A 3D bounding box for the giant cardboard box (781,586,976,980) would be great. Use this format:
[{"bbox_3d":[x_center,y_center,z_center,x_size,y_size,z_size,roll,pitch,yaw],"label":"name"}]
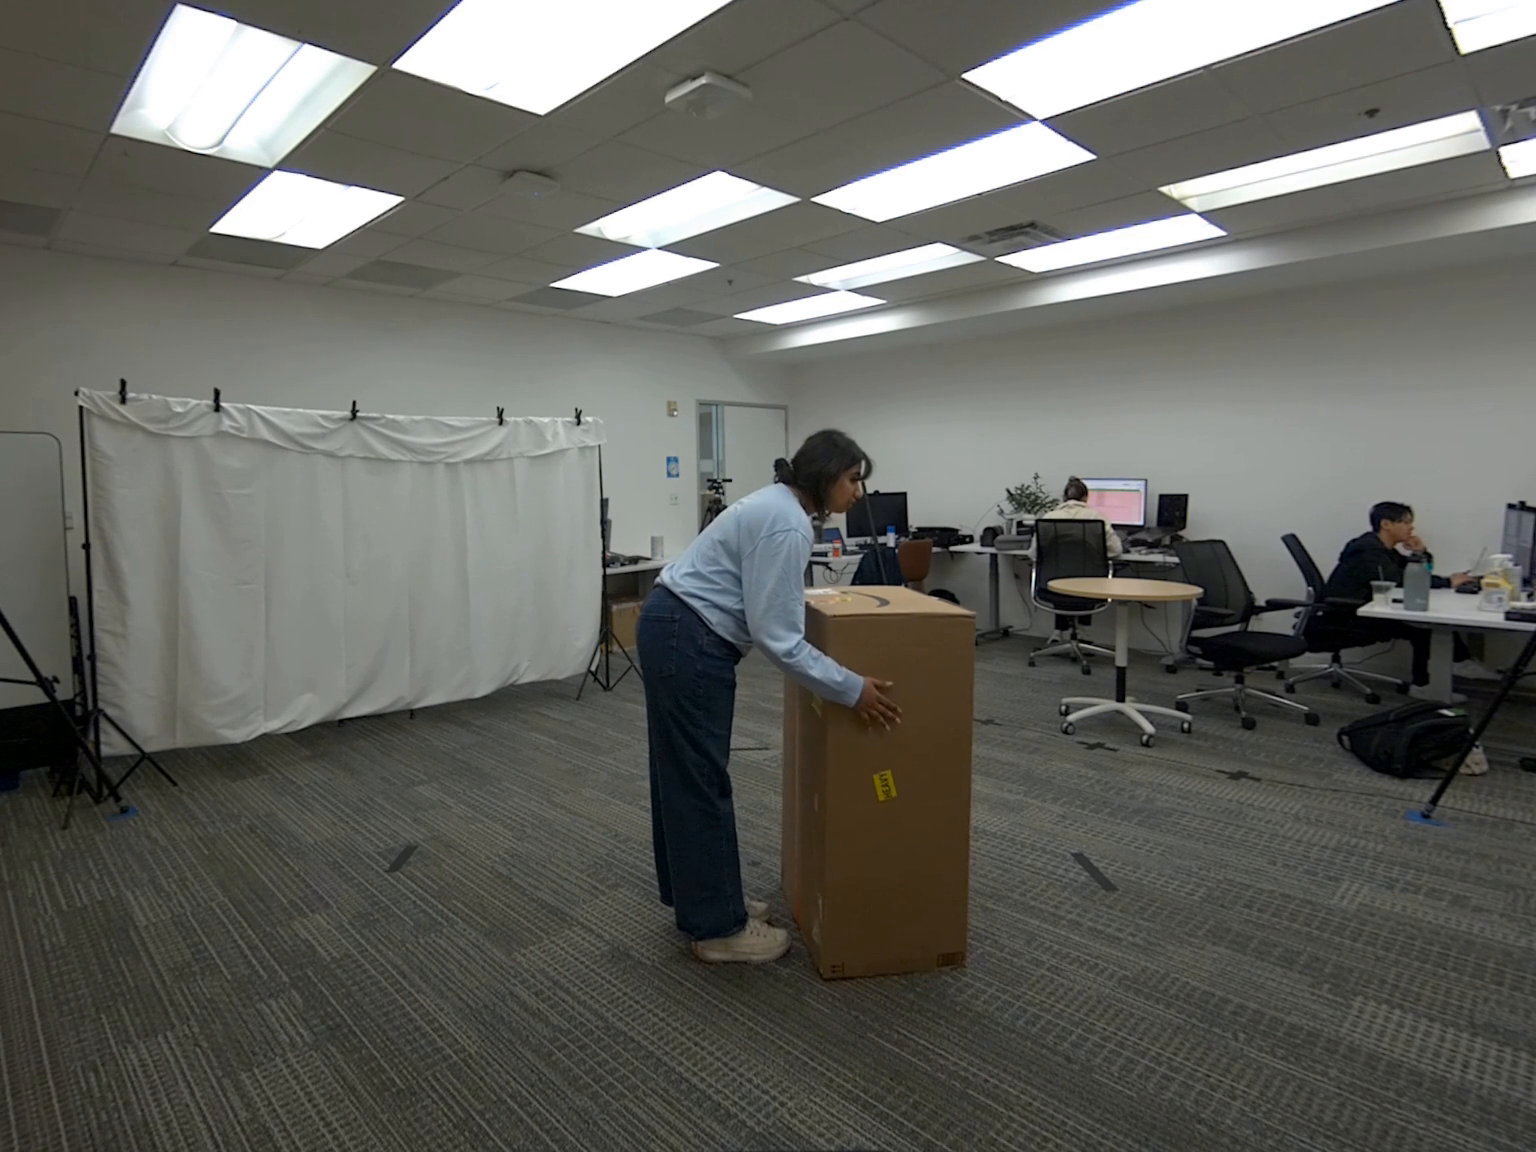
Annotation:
[{"bbox_3d":[0.313,0.579,2.647,0.443,1.023,0.591,0,4,-9],"label":"giant cardboard box"}]
